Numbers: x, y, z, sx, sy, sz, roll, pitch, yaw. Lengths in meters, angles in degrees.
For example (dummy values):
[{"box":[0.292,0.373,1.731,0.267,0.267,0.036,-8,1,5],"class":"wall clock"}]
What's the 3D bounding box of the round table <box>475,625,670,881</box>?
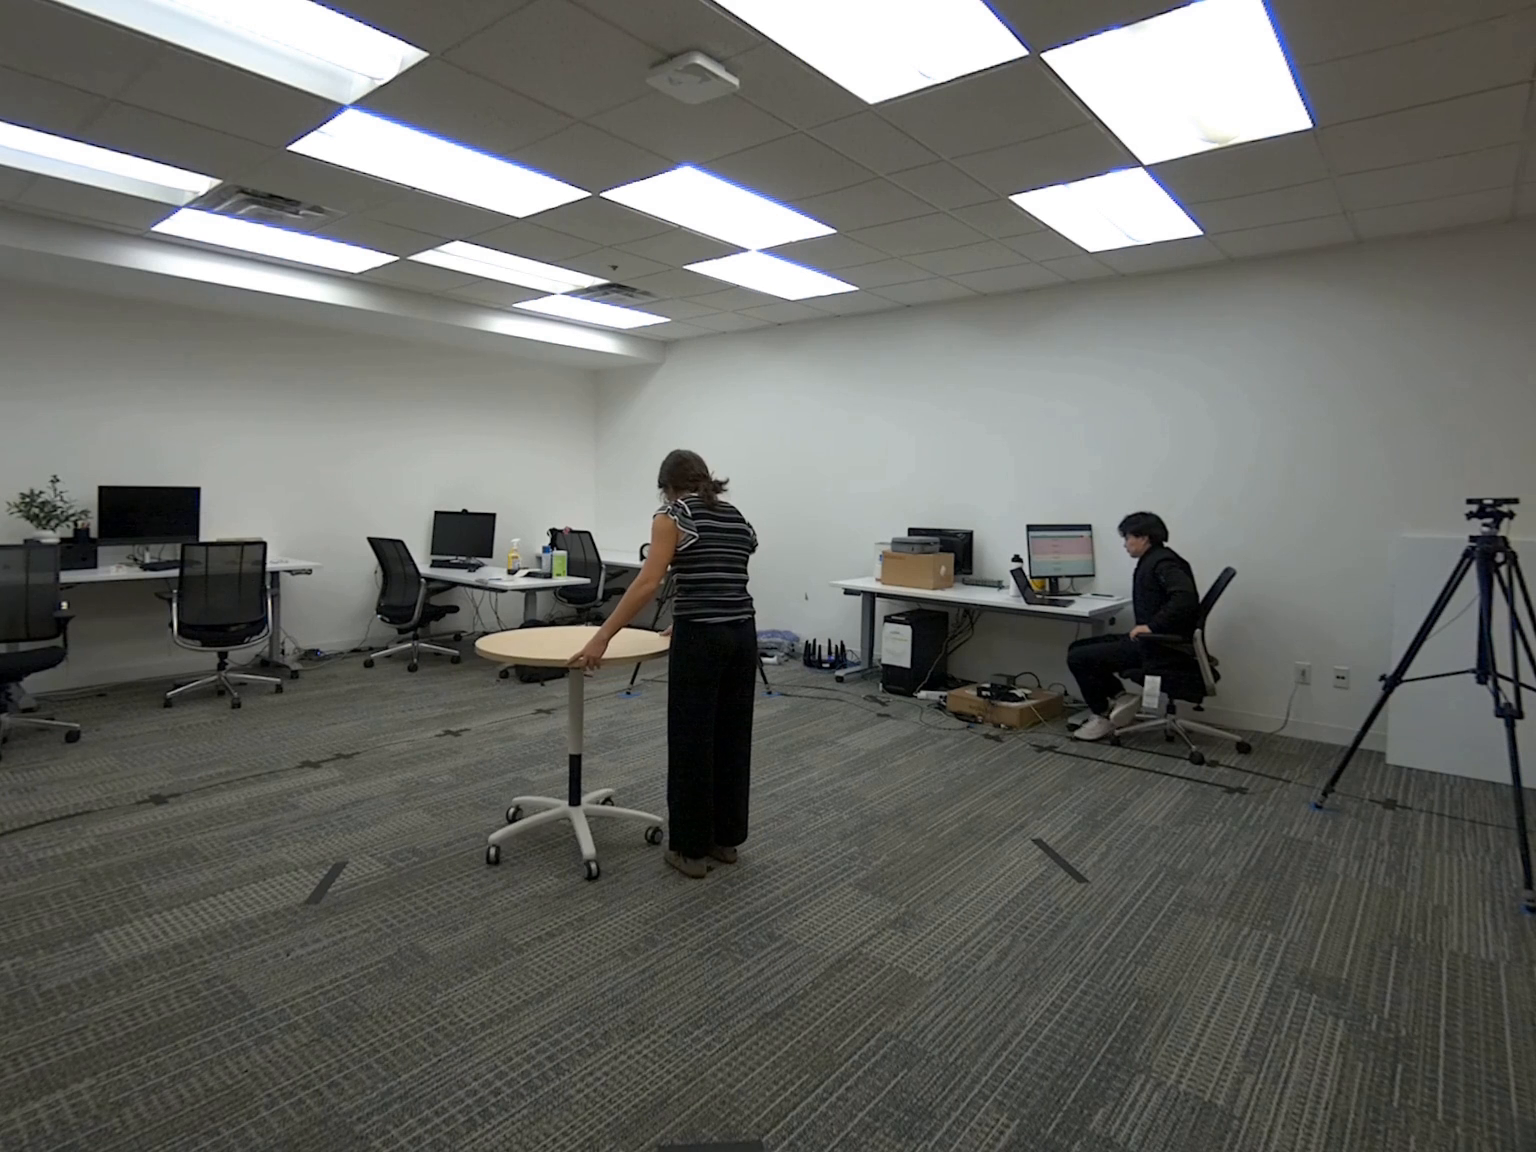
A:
[{"box":[-0.752,0.642,3.321,0.784,0.784,0.788,1,4,-2],"class":"round table"}]
